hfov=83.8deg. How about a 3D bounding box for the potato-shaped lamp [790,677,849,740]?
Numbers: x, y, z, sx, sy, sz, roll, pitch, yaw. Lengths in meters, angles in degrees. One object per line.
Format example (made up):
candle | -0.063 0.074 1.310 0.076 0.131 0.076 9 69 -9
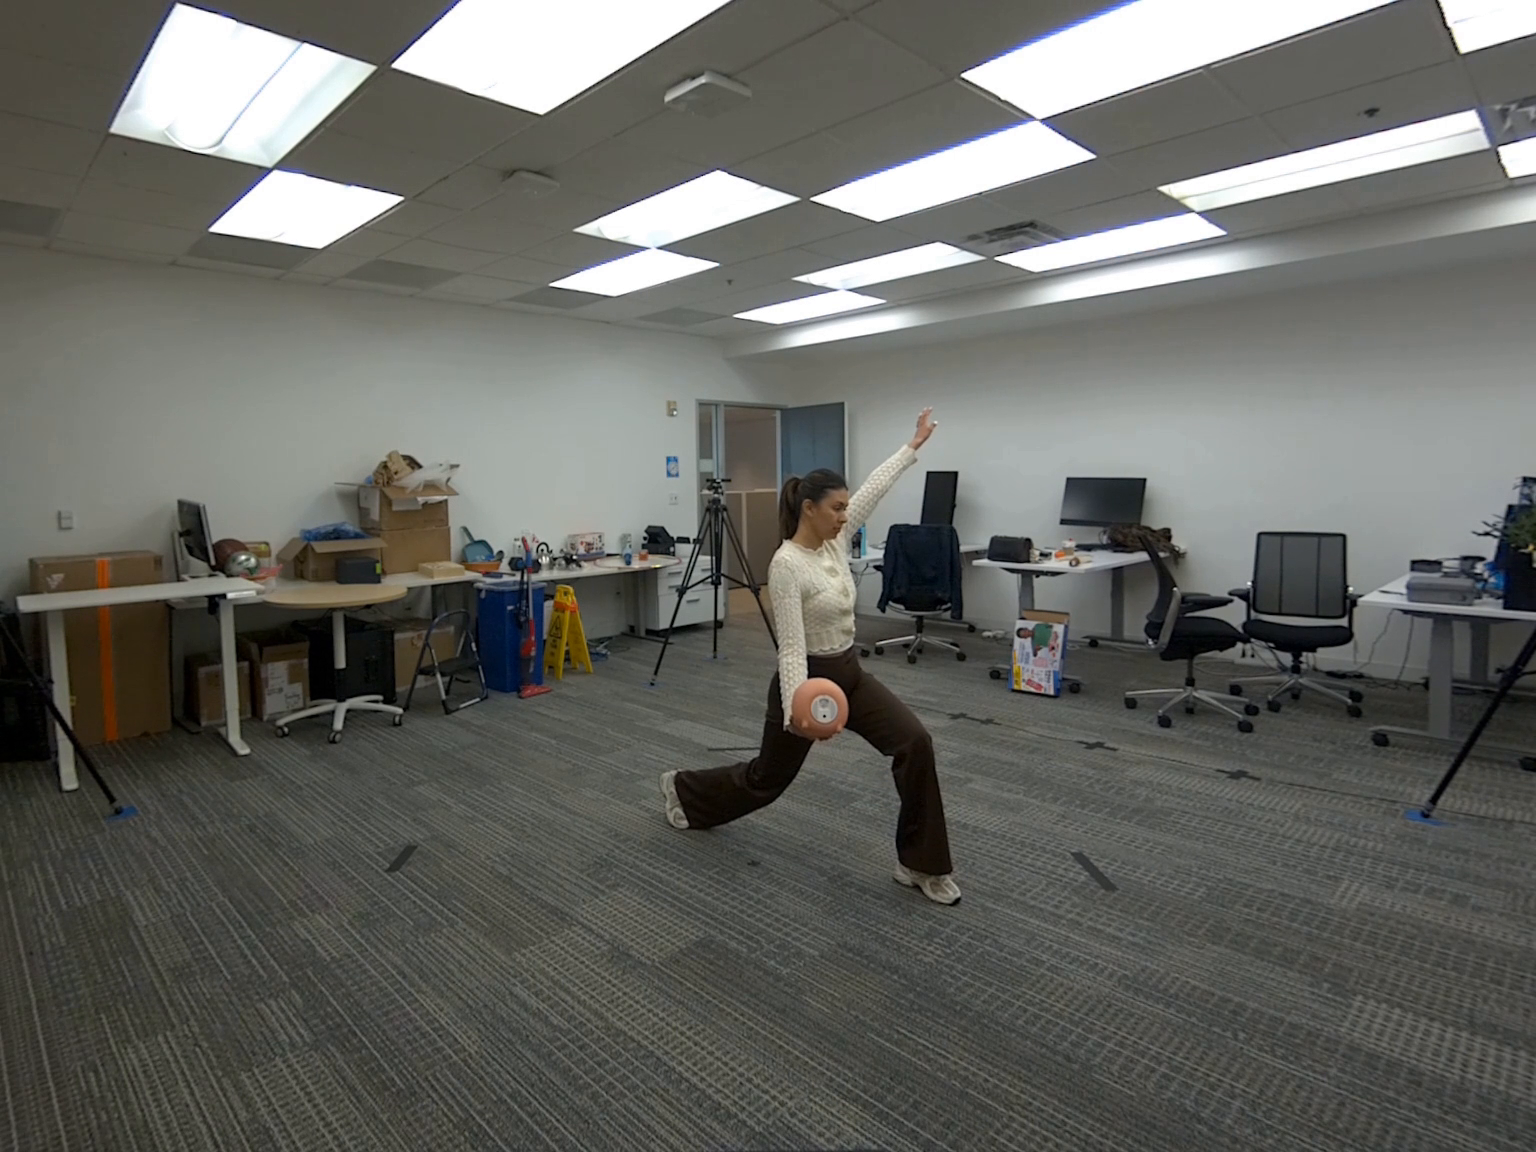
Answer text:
potato-shaped lamp | 0.139 0.396 2.548 0.163 0.173 0.198 13 -15 -10
